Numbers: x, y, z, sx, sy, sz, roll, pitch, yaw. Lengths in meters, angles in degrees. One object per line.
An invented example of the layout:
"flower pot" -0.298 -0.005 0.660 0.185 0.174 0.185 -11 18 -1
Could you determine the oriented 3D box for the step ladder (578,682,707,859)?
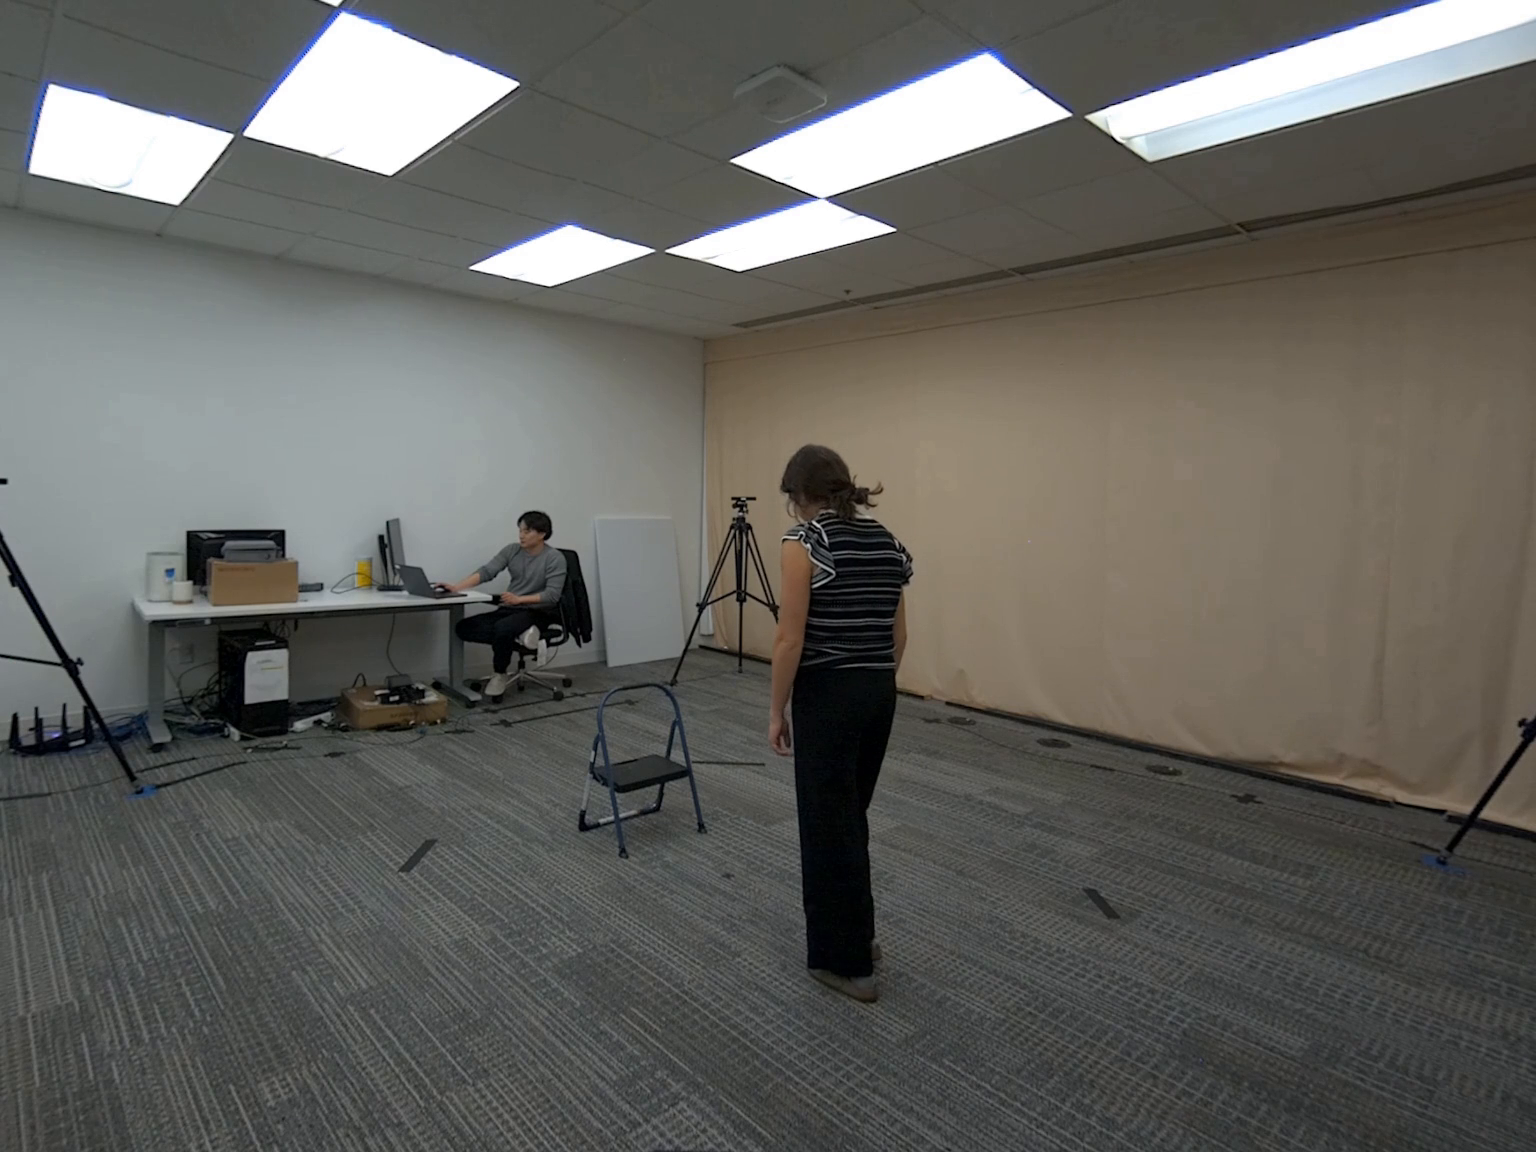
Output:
"step ladder" -0.521 0.763 3.484 0.421 0.604 0.358 -2 5 -44
